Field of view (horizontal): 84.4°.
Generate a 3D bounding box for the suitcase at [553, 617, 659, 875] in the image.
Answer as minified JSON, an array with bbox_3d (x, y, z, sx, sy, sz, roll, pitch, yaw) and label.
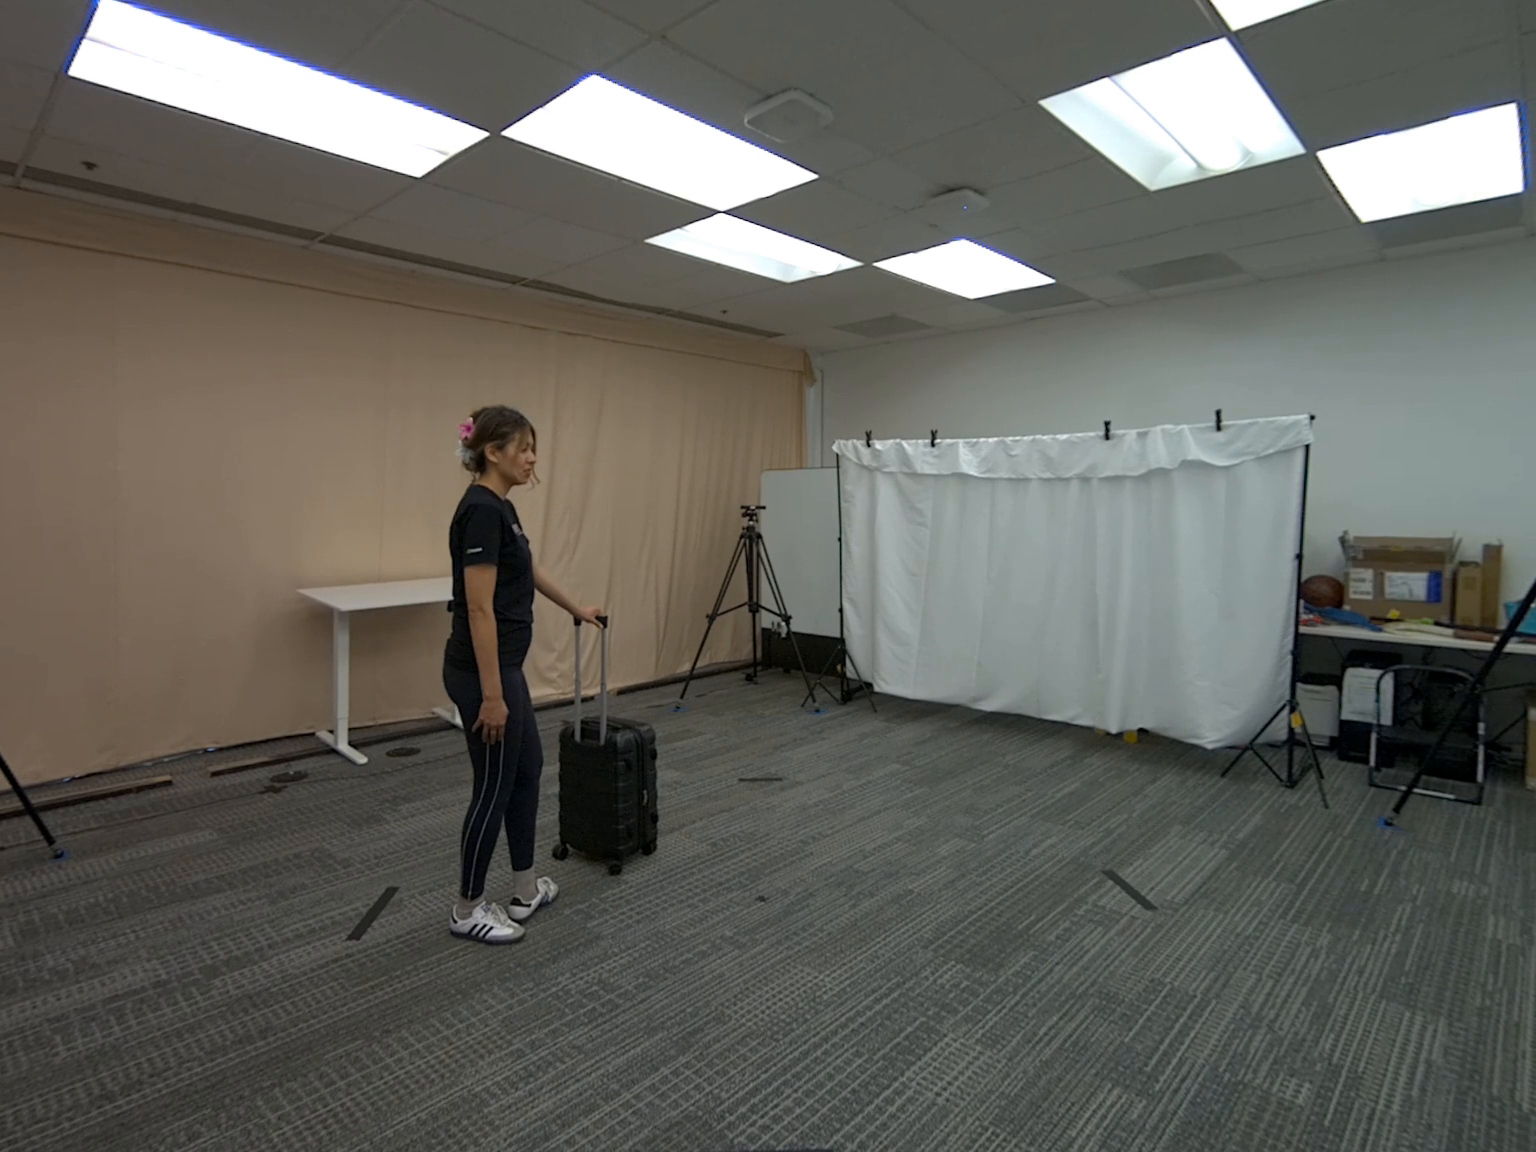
[{"bbox_3d":[-0.641,0.639,3.356,0.395,0.978,0.250,1,1,31],"label":"suitcase"}]
